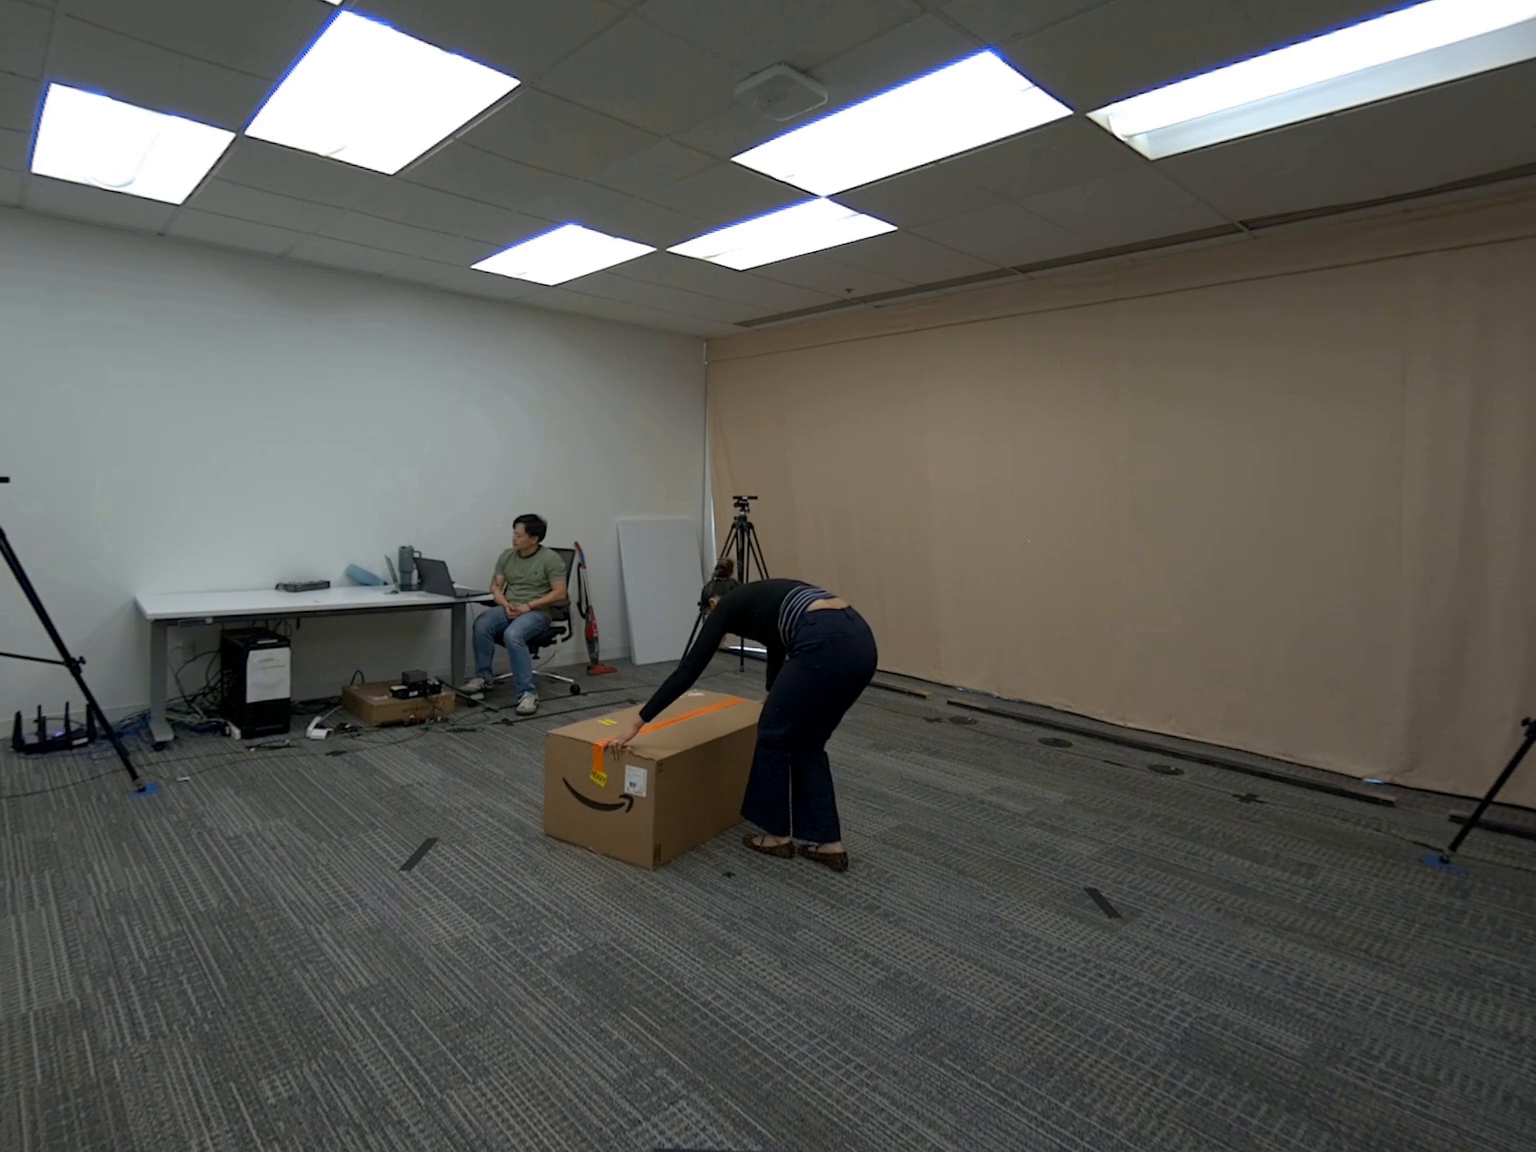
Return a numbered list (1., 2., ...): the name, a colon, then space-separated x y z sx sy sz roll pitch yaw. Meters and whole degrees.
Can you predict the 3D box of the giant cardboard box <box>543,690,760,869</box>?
1. giant cardboard box: -0.404 0.830 3.678 0.591 0.425 1.005 5 6 32
